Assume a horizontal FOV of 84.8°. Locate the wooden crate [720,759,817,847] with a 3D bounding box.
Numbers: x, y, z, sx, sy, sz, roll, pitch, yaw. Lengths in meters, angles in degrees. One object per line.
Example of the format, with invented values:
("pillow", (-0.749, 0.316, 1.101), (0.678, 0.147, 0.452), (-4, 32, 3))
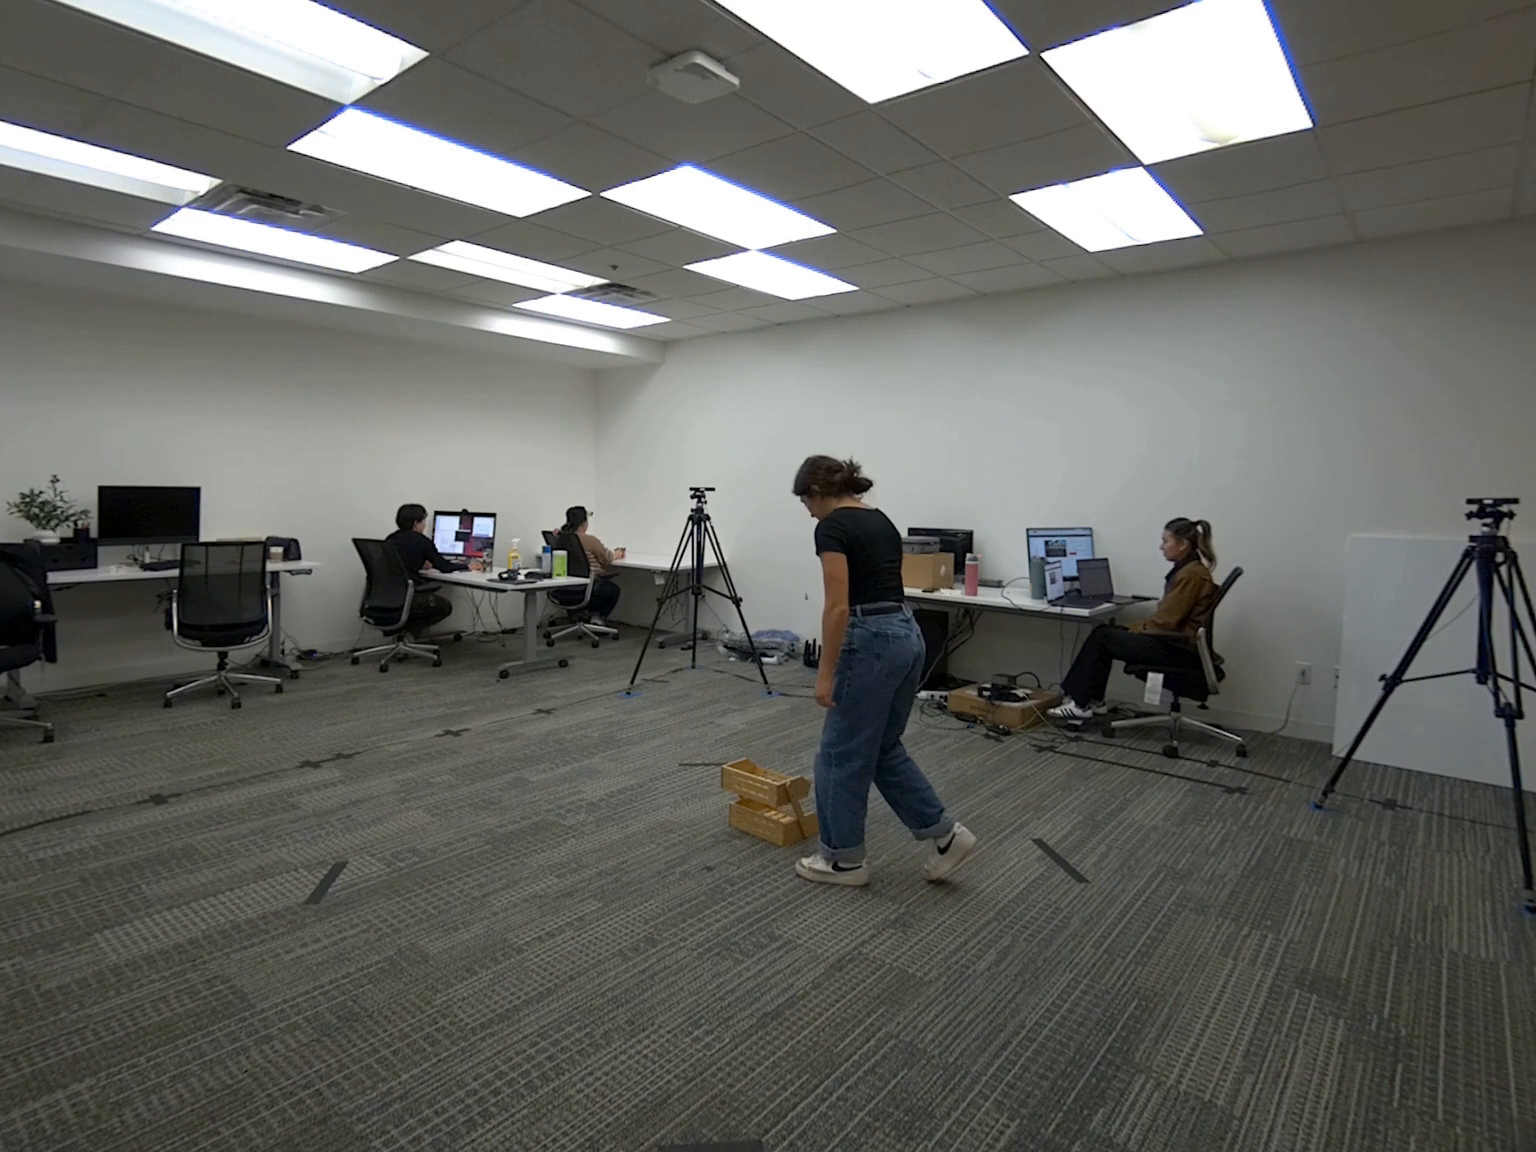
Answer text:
("wooden crate", (0.010, 0.901, 3.479), (0.335, 0.272, 0.293), (5, 6, 42))
